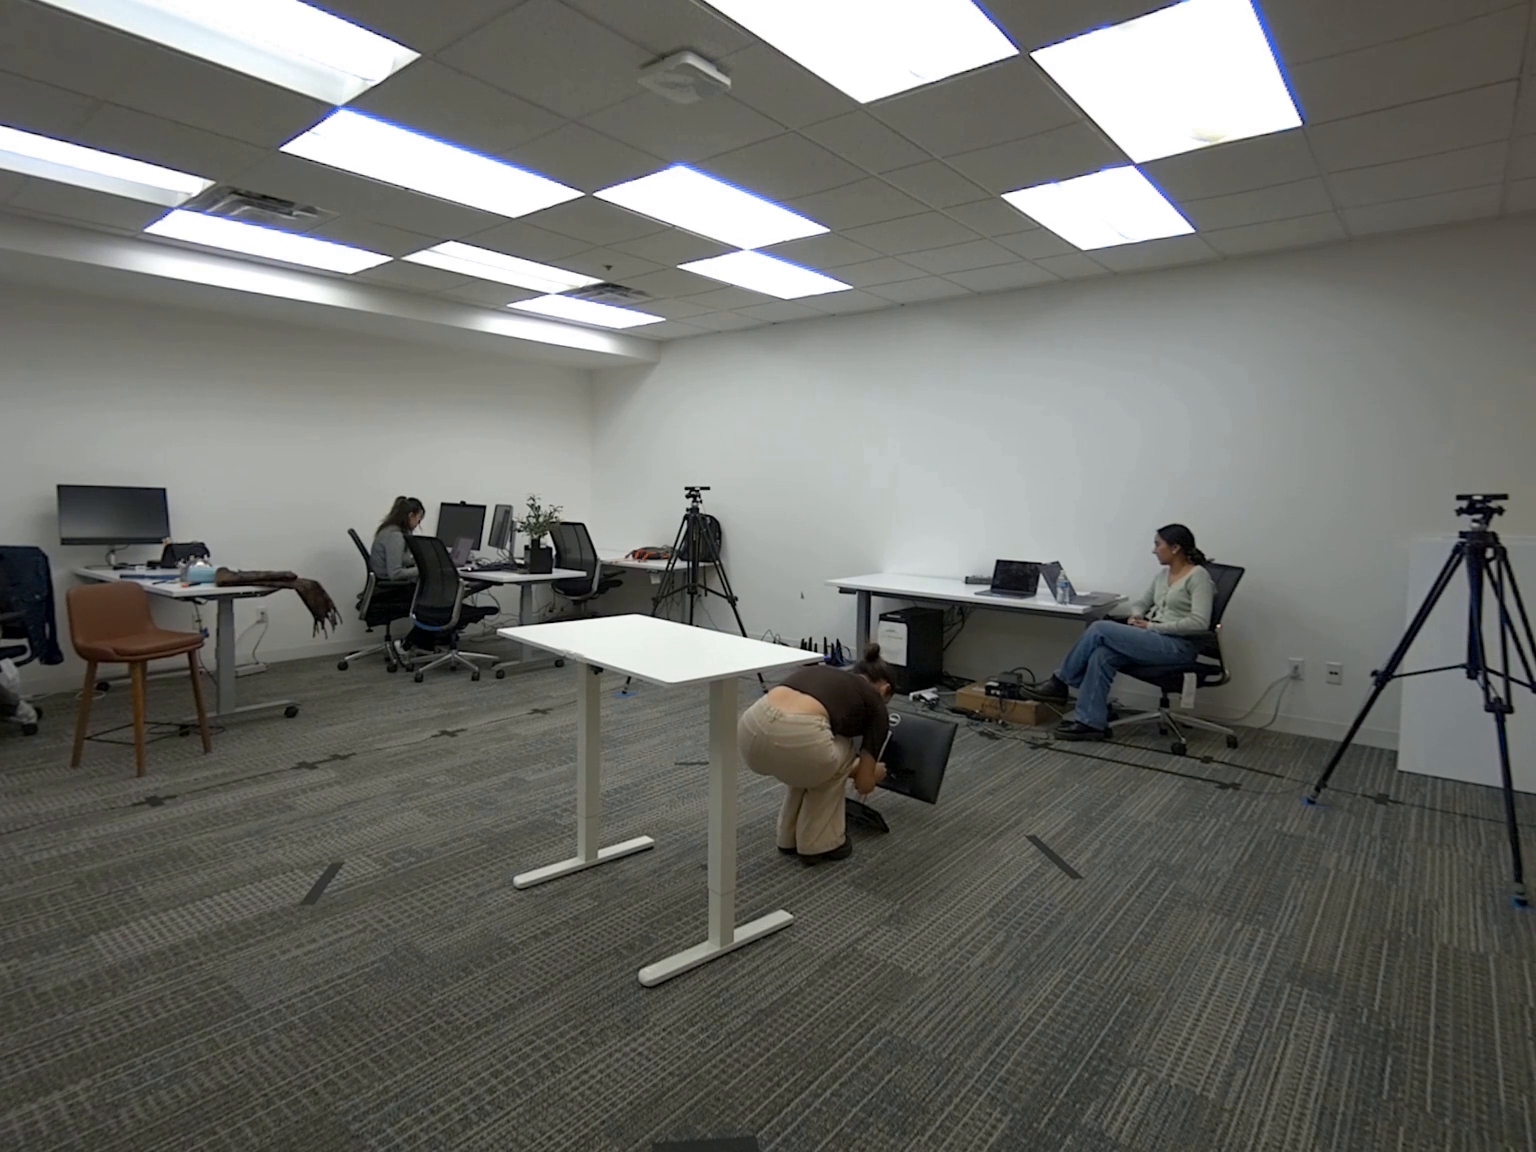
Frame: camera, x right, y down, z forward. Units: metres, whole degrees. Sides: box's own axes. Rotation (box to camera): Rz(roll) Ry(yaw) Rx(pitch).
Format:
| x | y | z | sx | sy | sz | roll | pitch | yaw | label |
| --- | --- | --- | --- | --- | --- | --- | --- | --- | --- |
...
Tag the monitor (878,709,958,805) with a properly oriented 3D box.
| x | y | z | sx | sy | sz | roll | pitch | yaw | label |
| --- | --- | --- | --- | --- | --- | --- | --- | --- | --- |
| 0.470 | 0.779 | 3.628 | 0.558 | 0.525 | 0.179 | 10 | -34 | 37 | monitor |
